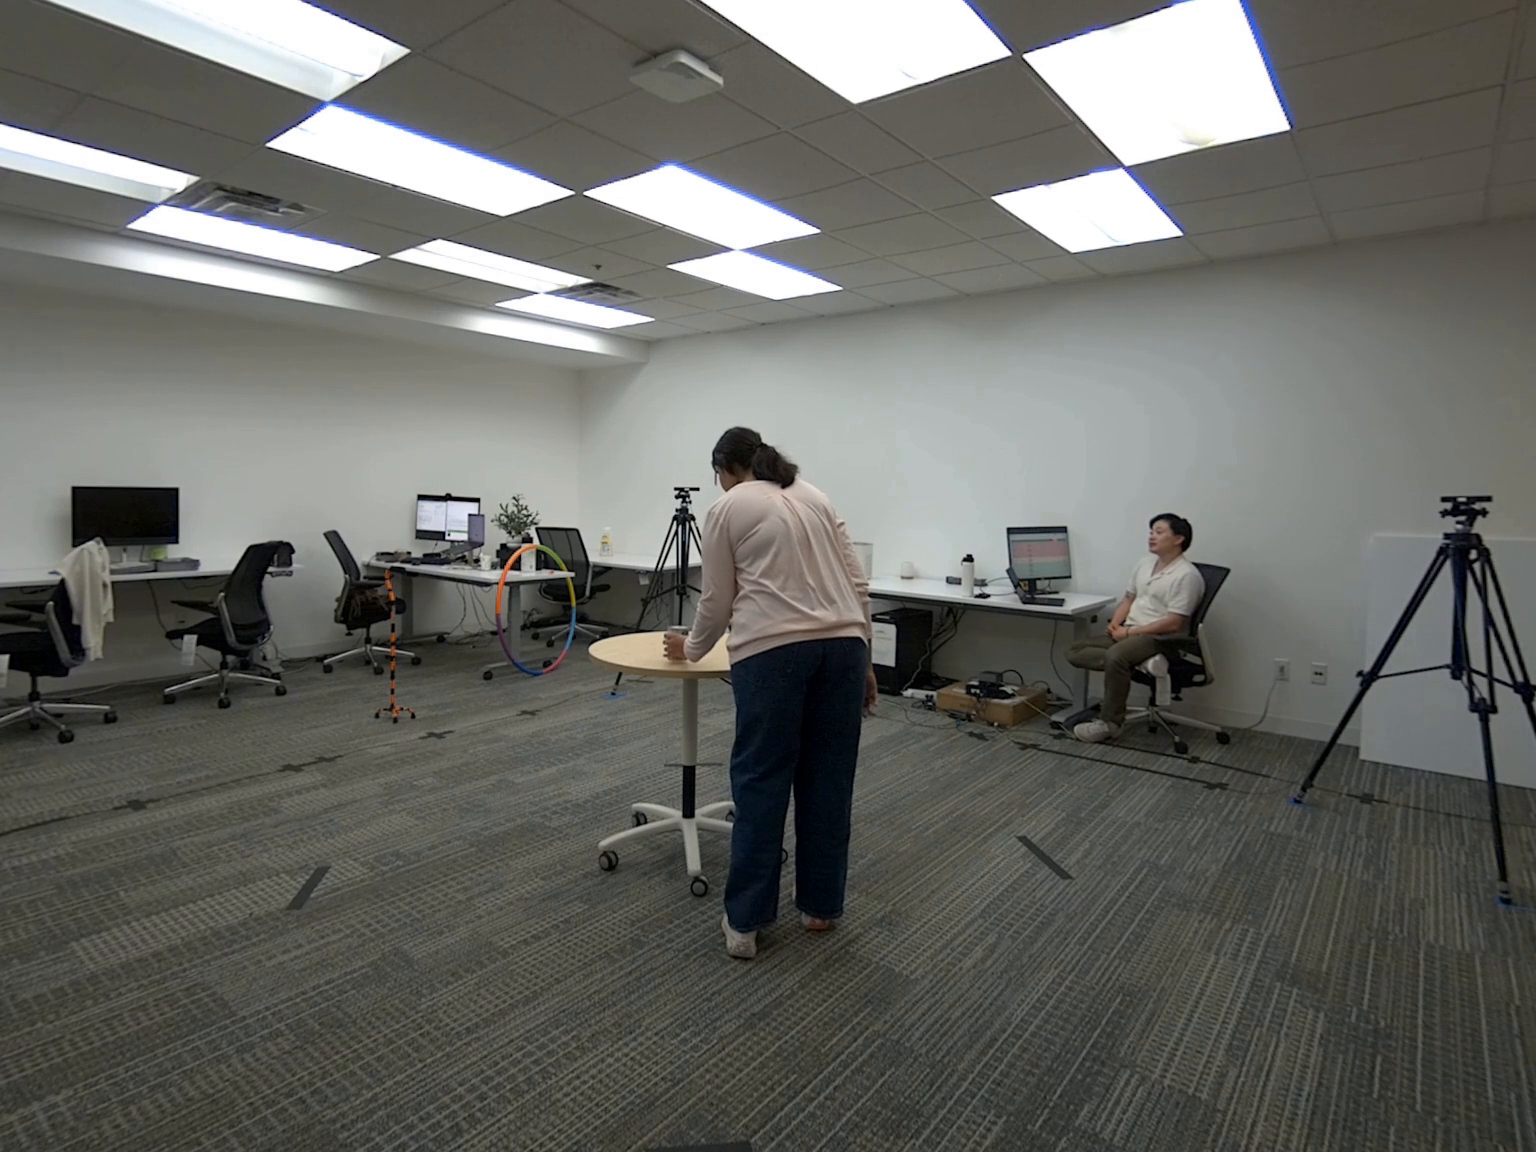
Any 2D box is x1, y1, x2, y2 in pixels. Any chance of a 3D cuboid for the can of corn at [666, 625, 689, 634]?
[{"bbox_3d":[-0.319,0.230,2.949,0.074,0.111,0.074,2,3,-2],"label":"can of corn"}]
